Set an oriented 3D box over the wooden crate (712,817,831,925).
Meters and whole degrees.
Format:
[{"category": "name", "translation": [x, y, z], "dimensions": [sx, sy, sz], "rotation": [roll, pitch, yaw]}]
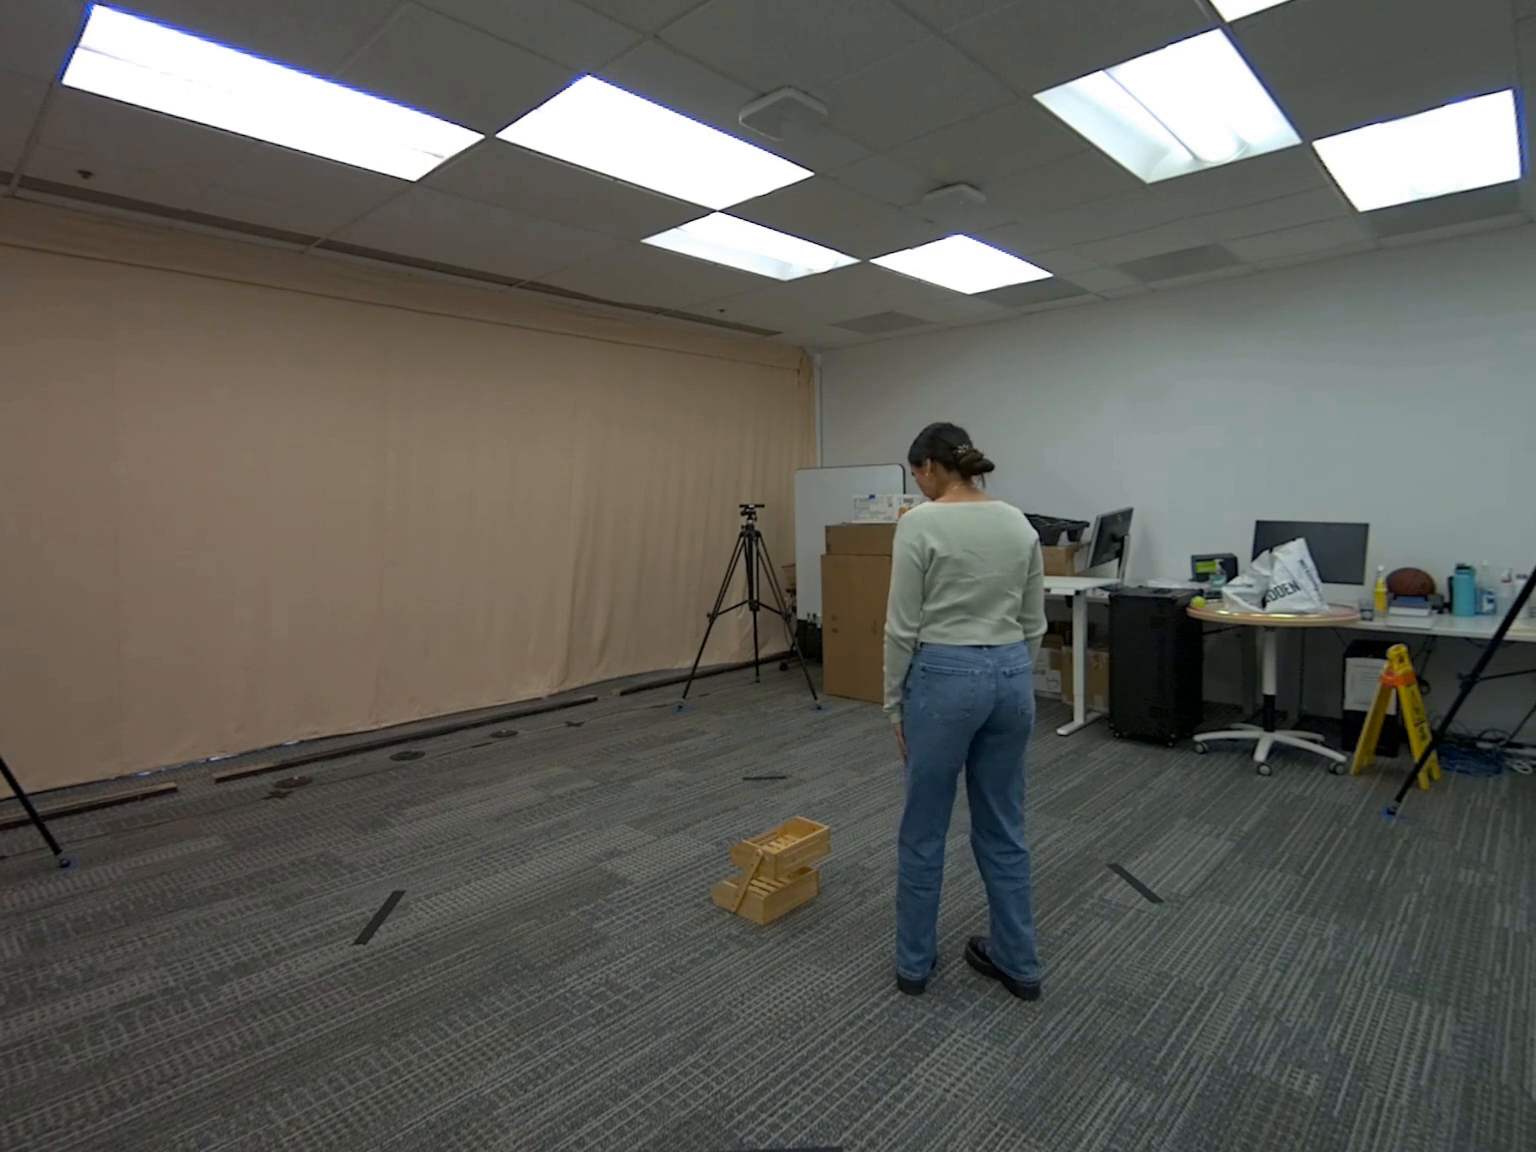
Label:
[{"category": "wooden crate", "translation": [0.011, 1.007, 2.948], "dimensions": [0.312, 0.272, 0.314], "rotation": [4, 6, 42]}]
